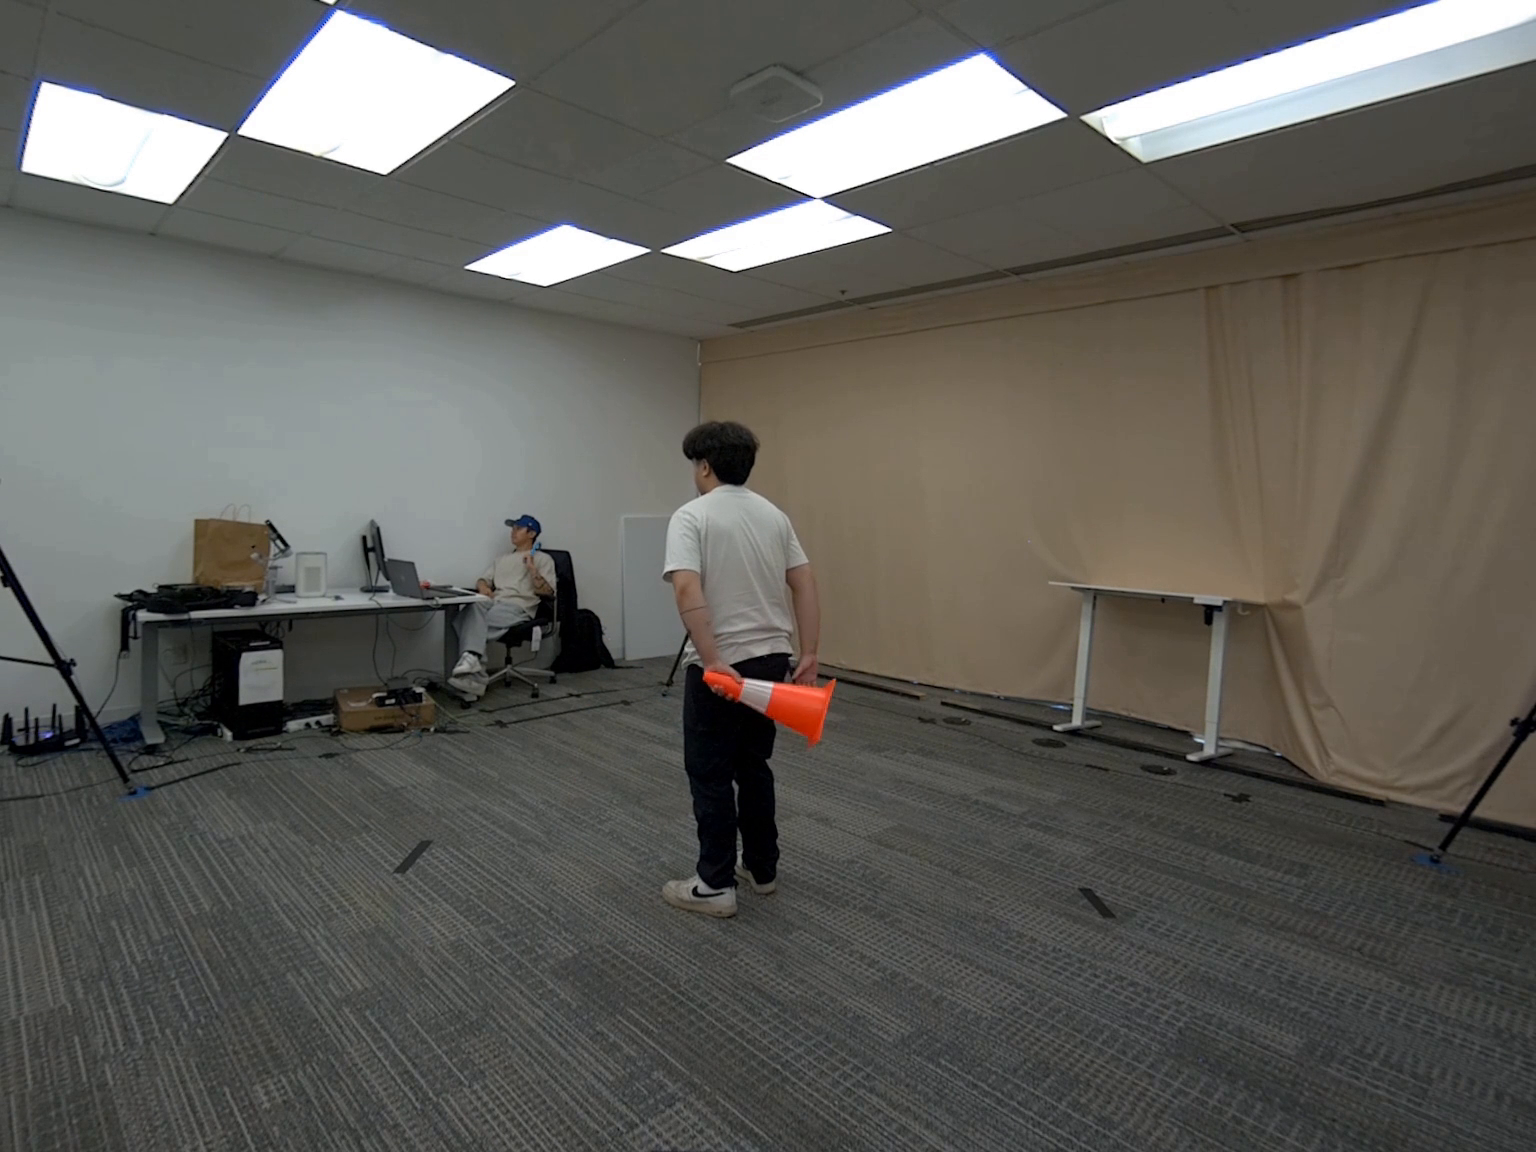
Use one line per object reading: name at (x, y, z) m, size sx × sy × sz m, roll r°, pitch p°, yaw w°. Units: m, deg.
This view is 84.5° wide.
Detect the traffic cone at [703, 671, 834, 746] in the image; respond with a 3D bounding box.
traffic cone at (-0.028, 0.374, 2.625) m, size 0.385 × 0.205 × 0.202 m, roll 17°, pitch -17°, yaw 3°
